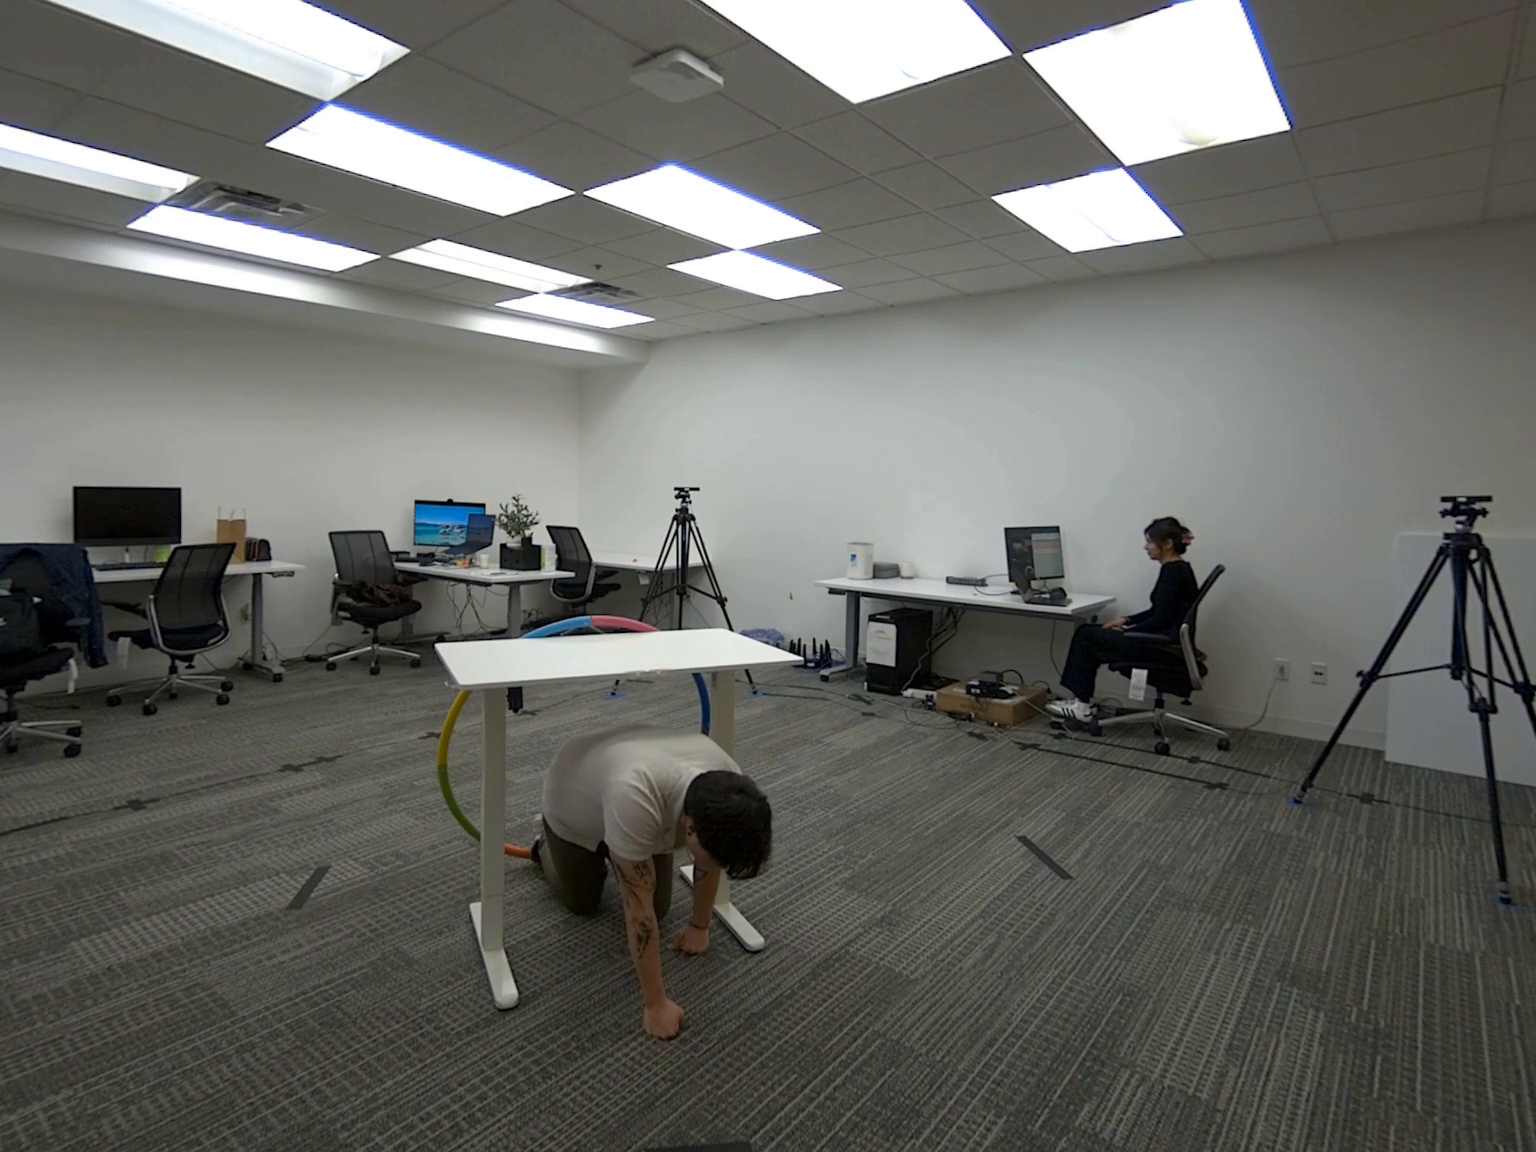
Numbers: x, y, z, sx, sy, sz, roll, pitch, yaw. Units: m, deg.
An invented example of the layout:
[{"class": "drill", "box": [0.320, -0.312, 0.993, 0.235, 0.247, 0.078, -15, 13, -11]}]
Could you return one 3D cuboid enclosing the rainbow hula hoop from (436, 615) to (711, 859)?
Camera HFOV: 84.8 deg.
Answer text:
[{"class": "rainbow hula hoop", "box": [-0.680, 0.598, 3.038, 0.956, 0.965, 0.037, -1, 20, -25]}]
